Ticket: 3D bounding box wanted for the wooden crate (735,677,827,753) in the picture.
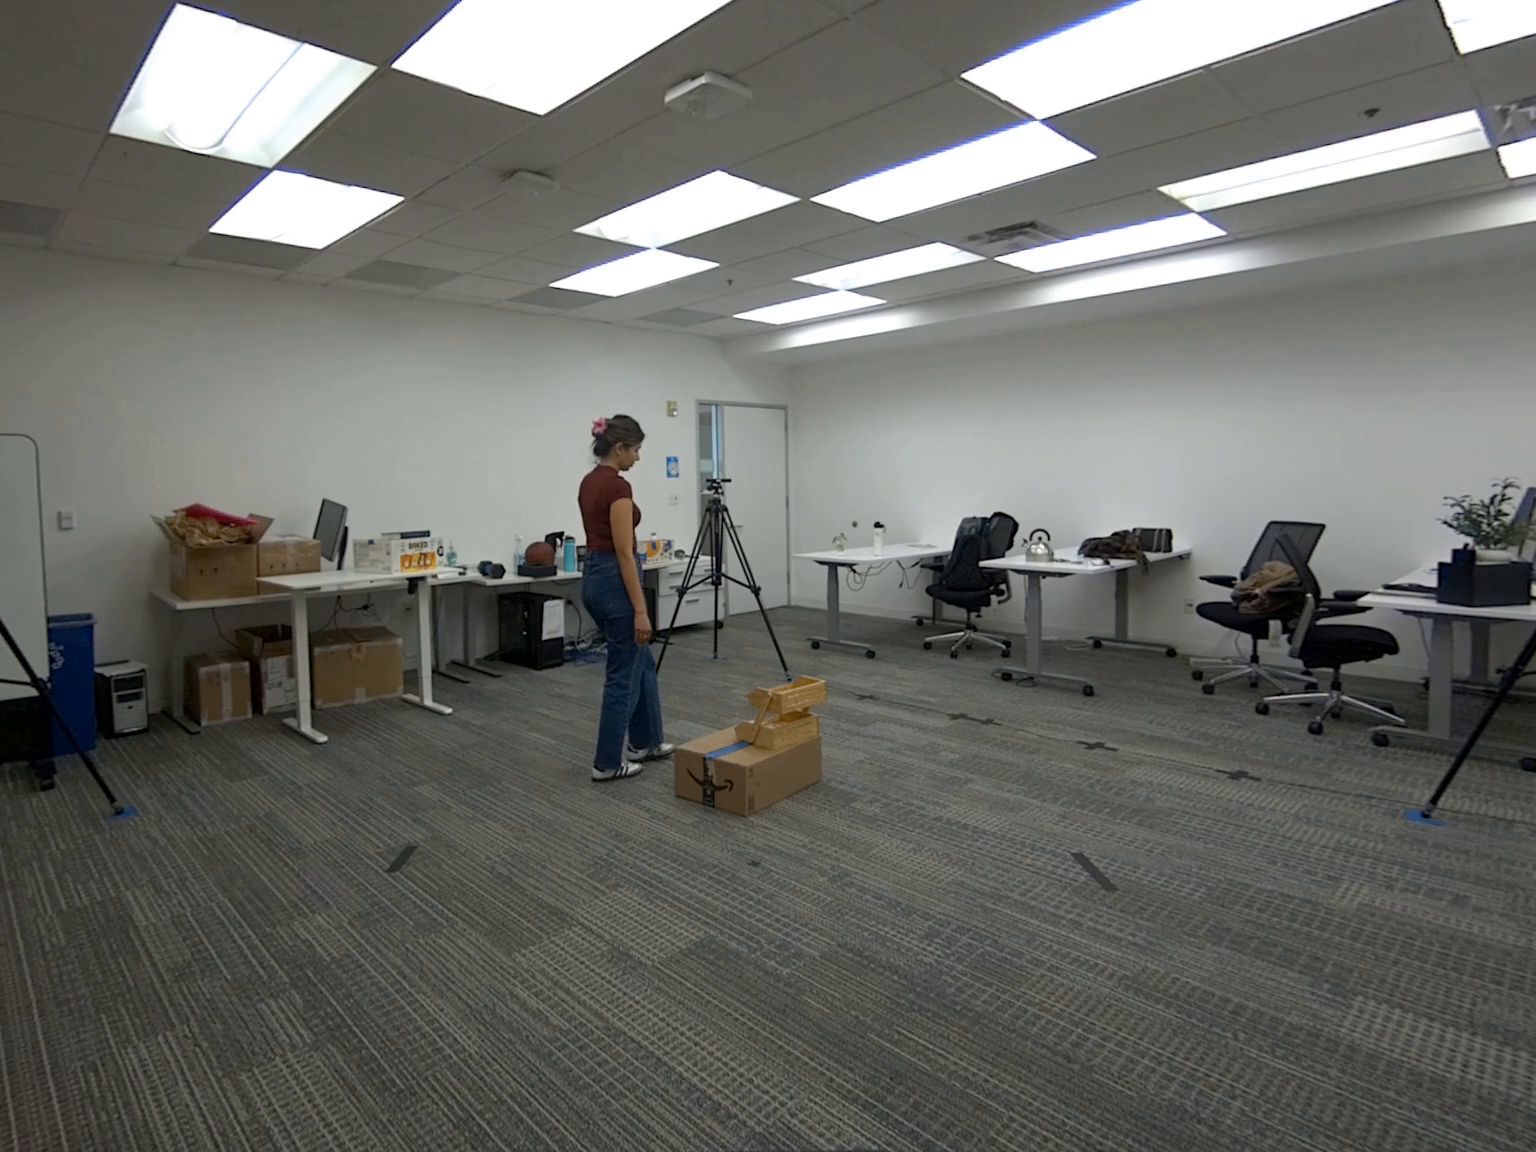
[{"bbox_3d":[0.056,0.606,3.901,0.316,0.272,0.311,-7,9,-43],"label":"wooden crate"}]
